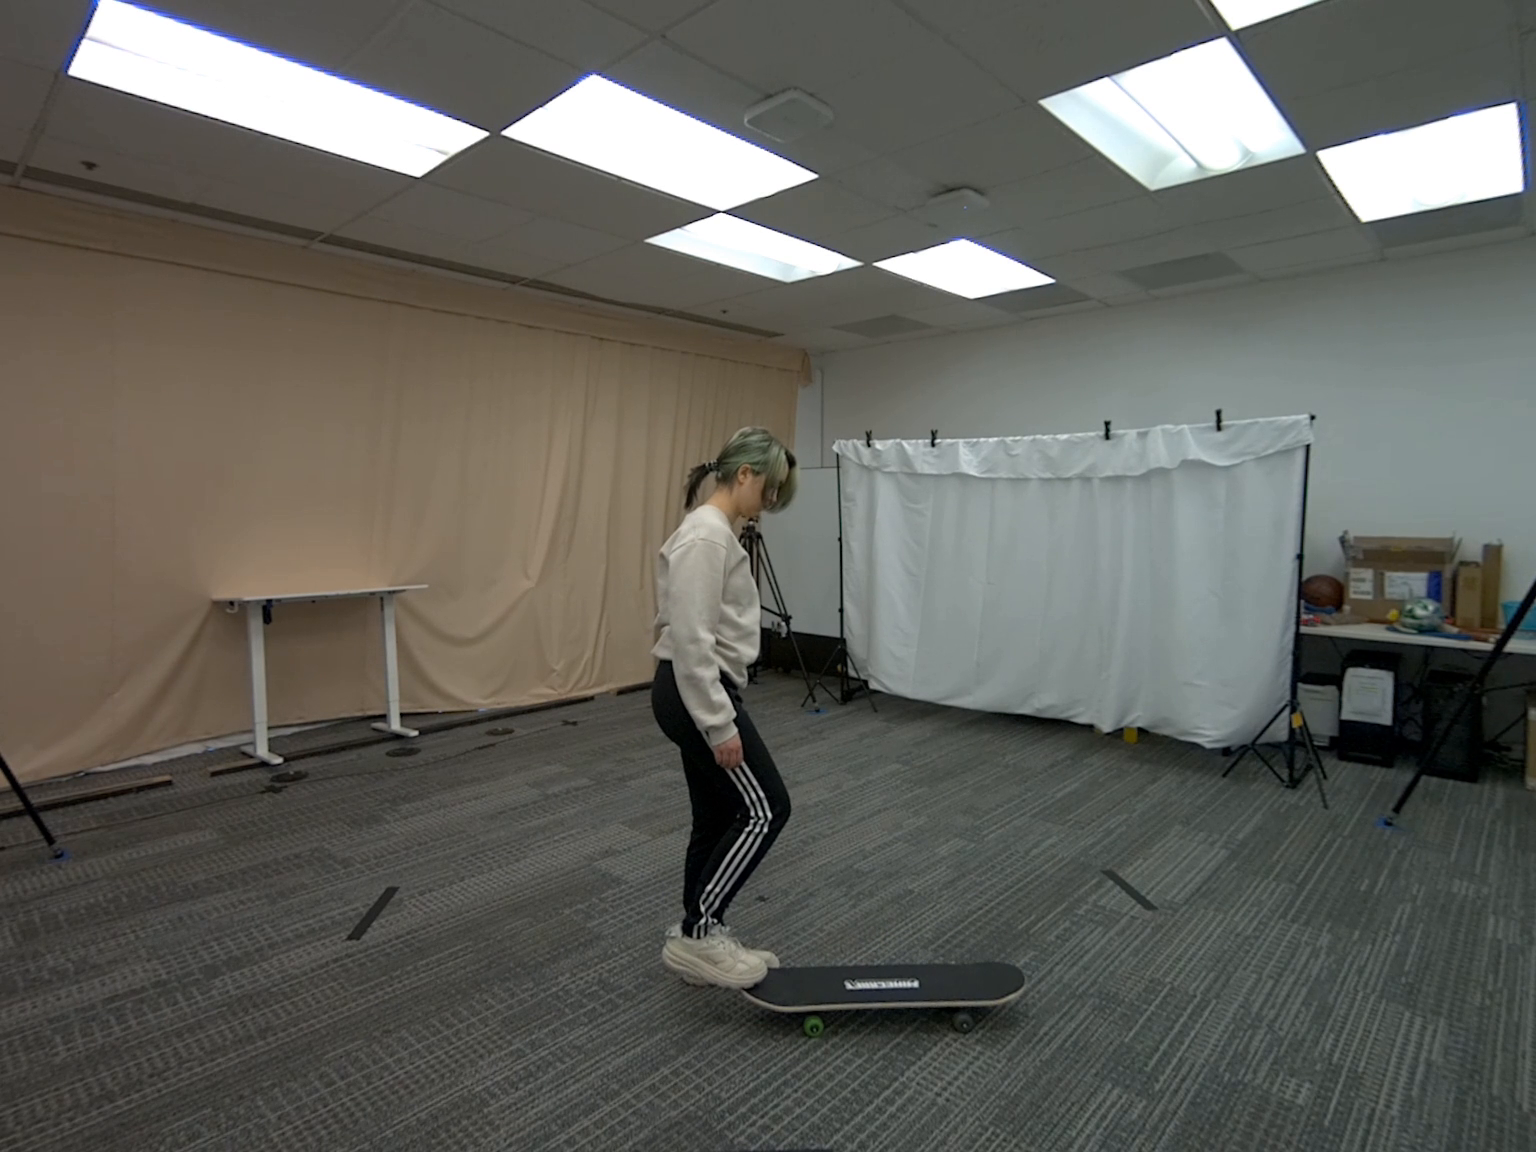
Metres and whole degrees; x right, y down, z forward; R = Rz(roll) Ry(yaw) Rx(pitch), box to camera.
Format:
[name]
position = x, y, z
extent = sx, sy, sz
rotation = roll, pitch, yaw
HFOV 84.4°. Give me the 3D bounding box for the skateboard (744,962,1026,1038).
[skateboard]
position = 0.322, 1.147, 2.293
extent = 0.783, 0.110, 0.194
rotation = -1, 6, -2
